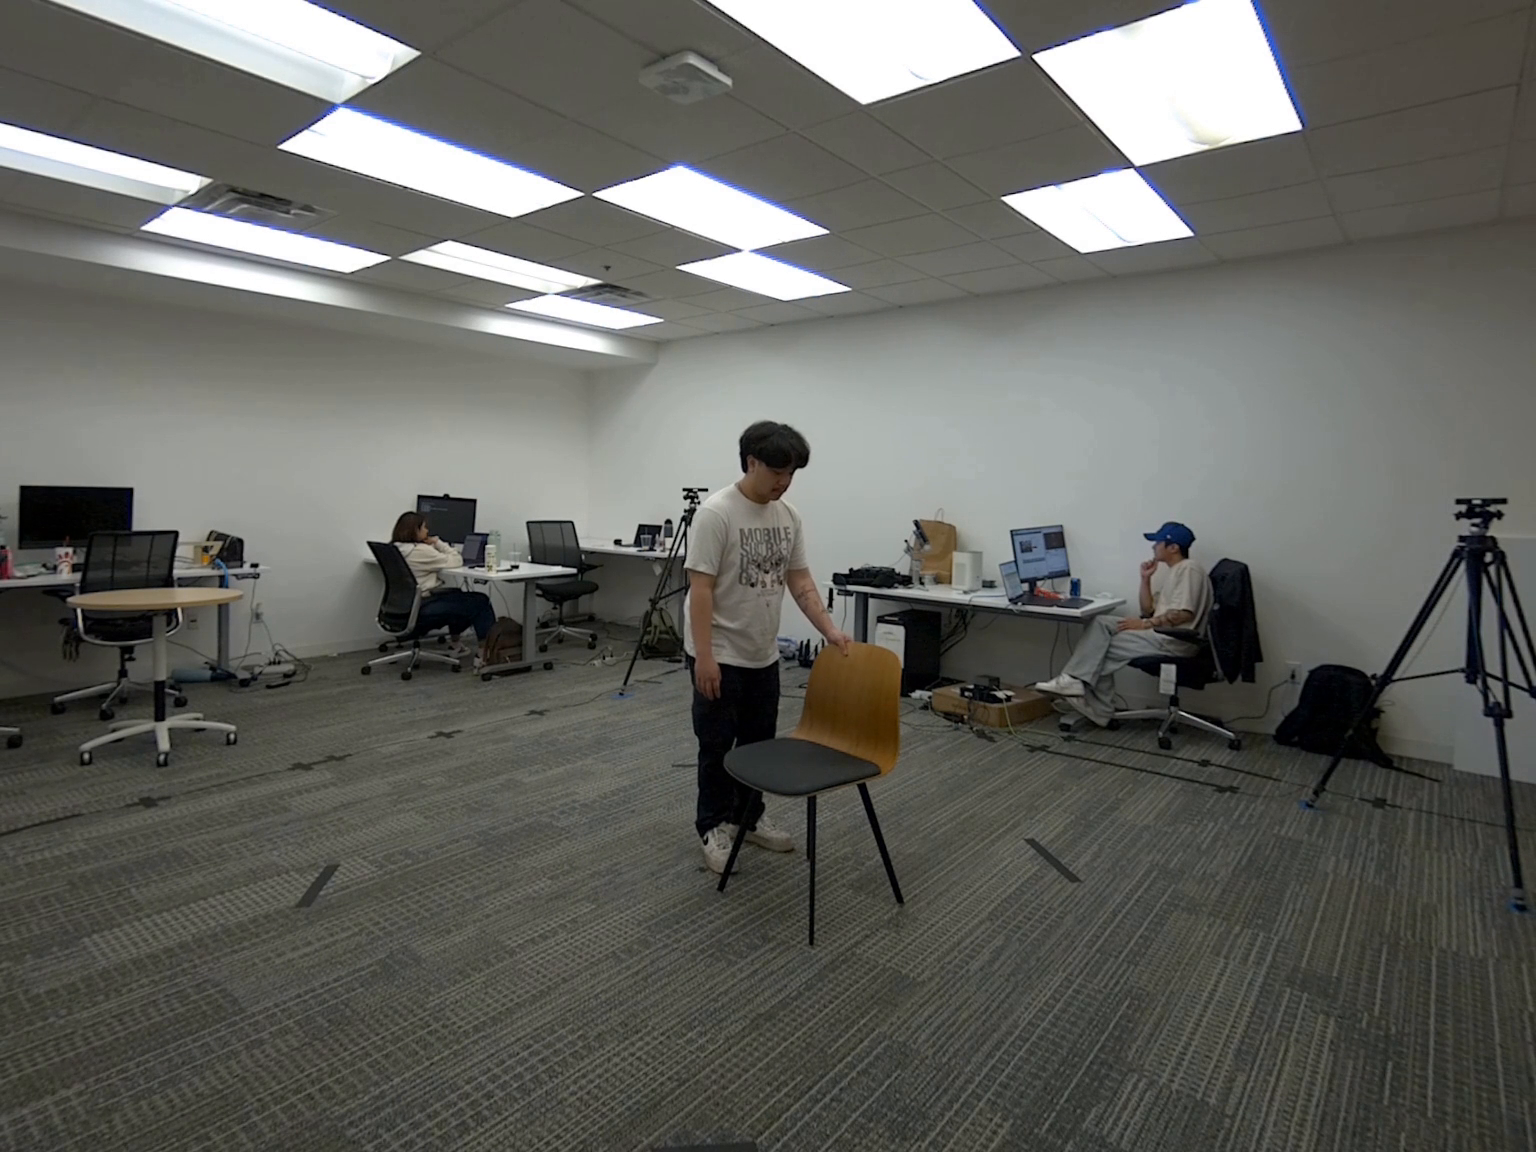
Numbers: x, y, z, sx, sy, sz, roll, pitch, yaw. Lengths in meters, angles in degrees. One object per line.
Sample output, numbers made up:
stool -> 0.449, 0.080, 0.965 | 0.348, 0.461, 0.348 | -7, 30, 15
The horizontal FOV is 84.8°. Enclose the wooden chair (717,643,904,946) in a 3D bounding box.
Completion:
wooden chair -> 0.141, 0.674, 2.876 | 0.506, 0.877, 0.494 | 4, 0, -43
